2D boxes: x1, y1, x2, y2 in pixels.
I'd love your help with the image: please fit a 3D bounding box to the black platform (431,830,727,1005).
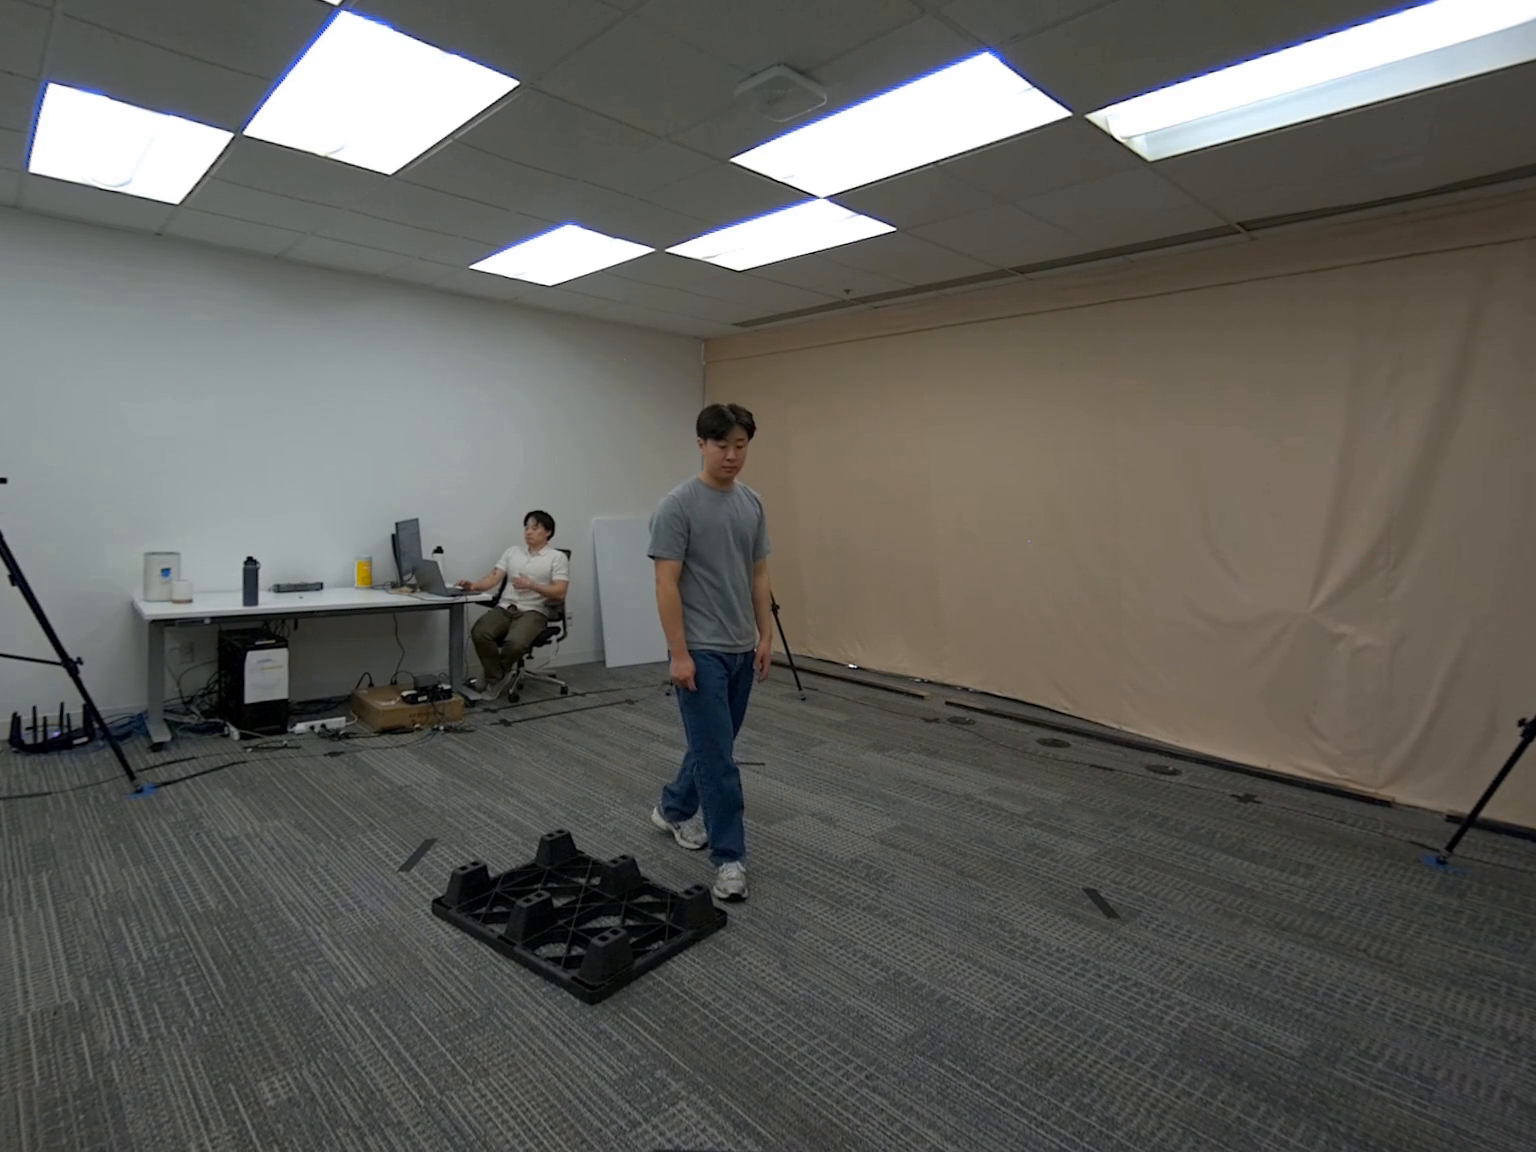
[{"bbox_3d":[-0.634,1.062,2.761,0.825,0.143,0.592,5,6,37],"label":"black platform"}]
